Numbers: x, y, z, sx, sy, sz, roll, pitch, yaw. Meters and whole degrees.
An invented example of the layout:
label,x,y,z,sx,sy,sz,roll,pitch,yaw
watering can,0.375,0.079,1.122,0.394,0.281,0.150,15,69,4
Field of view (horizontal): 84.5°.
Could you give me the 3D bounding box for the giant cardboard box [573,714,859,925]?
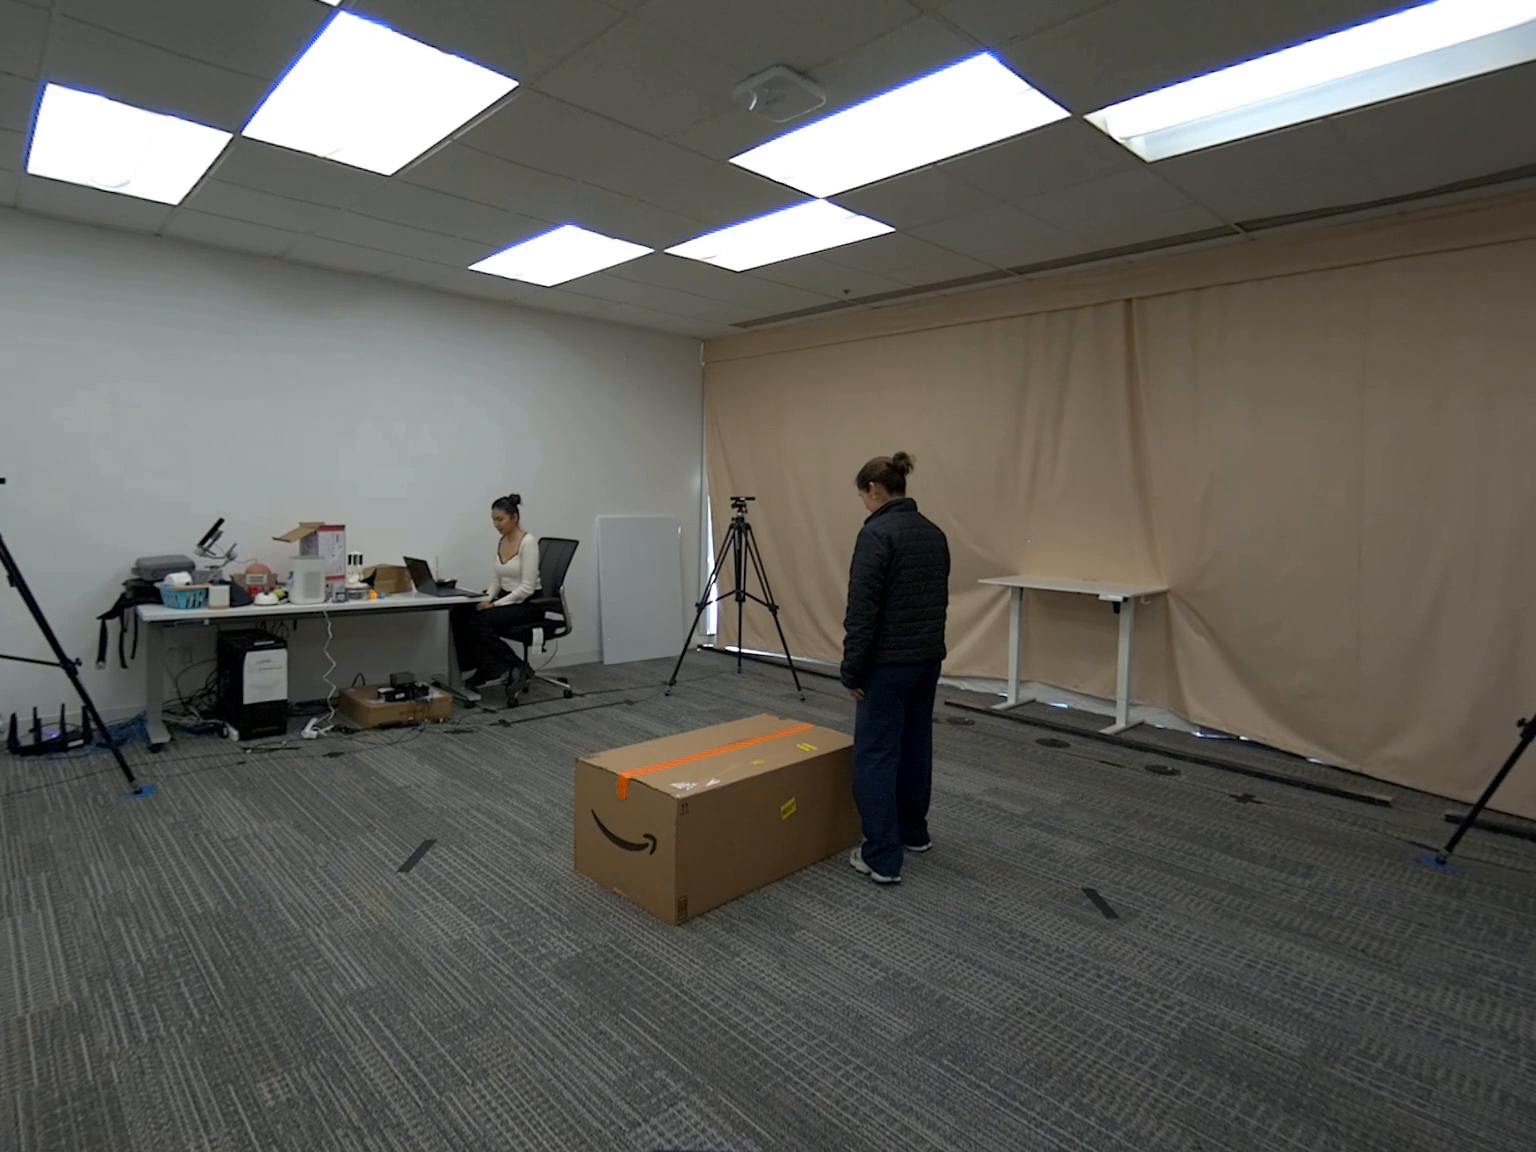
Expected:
label,x,y,z,sx,sy,sz,roll,pitch,yaw
giant cardboard box,-0.168,0.880,3.261,0.592,0.425,1.002,6,7,43
